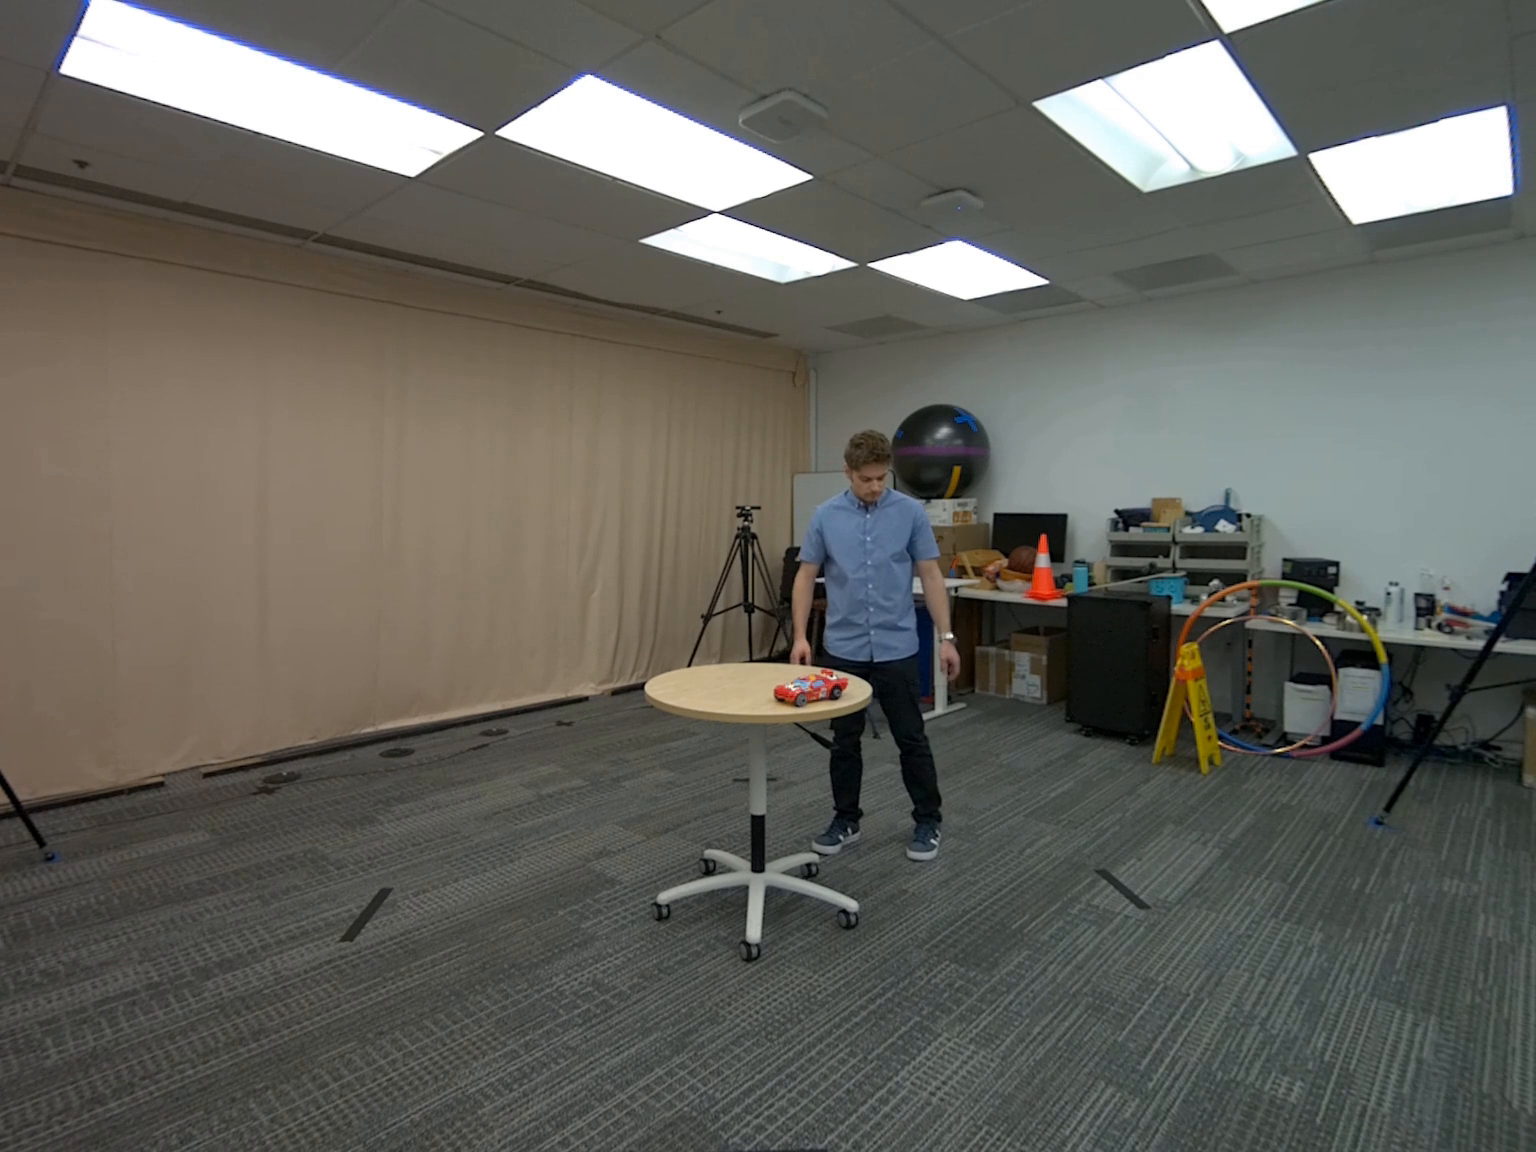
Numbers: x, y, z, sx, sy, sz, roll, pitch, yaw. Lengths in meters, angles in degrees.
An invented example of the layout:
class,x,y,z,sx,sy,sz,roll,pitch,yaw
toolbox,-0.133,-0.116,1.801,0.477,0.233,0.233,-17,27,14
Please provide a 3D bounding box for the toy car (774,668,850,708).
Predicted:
class,x,y,z,sx,sy,sz,roll,pitch,yaw
toy car,0.149,0.360,2.652,0.249,0.082,0.134,-17,14,-33
